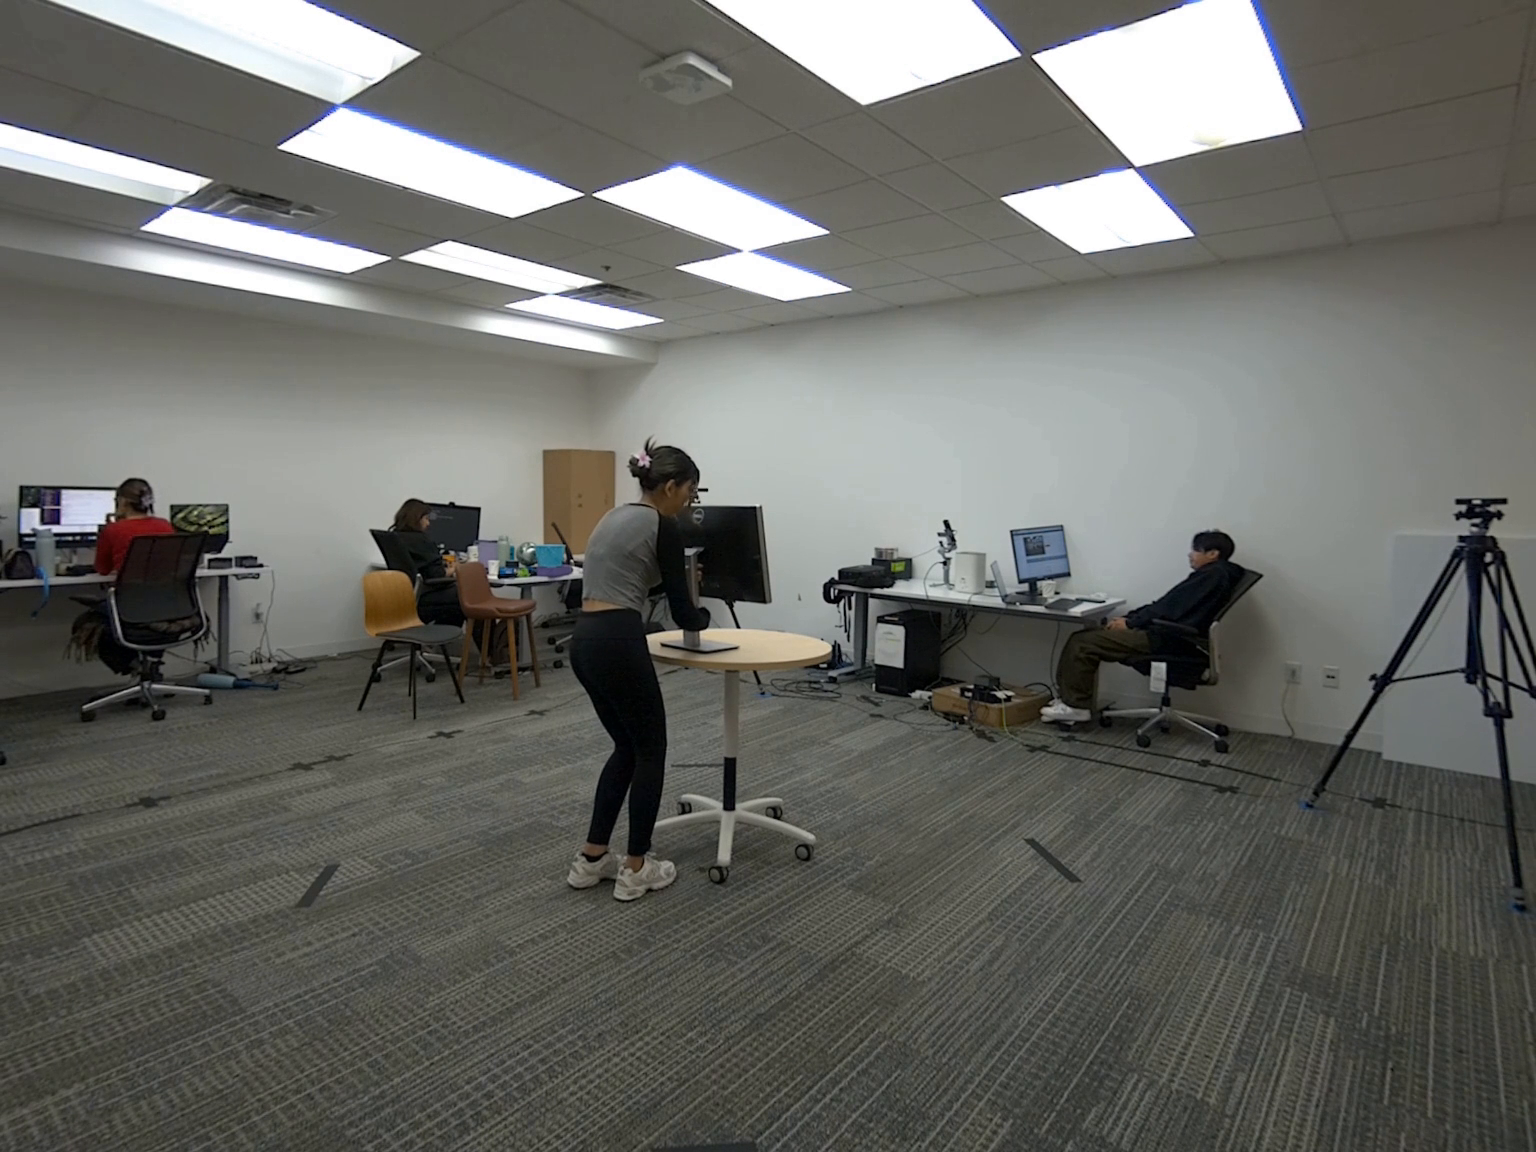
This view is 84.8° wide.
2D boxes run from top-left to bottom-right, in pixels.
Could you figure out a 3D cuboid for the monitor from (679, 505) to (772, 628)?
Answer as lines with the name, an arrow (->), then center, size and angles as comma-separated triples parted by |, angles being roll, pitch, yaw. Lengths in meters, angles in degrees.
monitor -> -0.262, -0.001, 3.204 | 0.557, 0.522, 0.181 | 4, 2, 40
